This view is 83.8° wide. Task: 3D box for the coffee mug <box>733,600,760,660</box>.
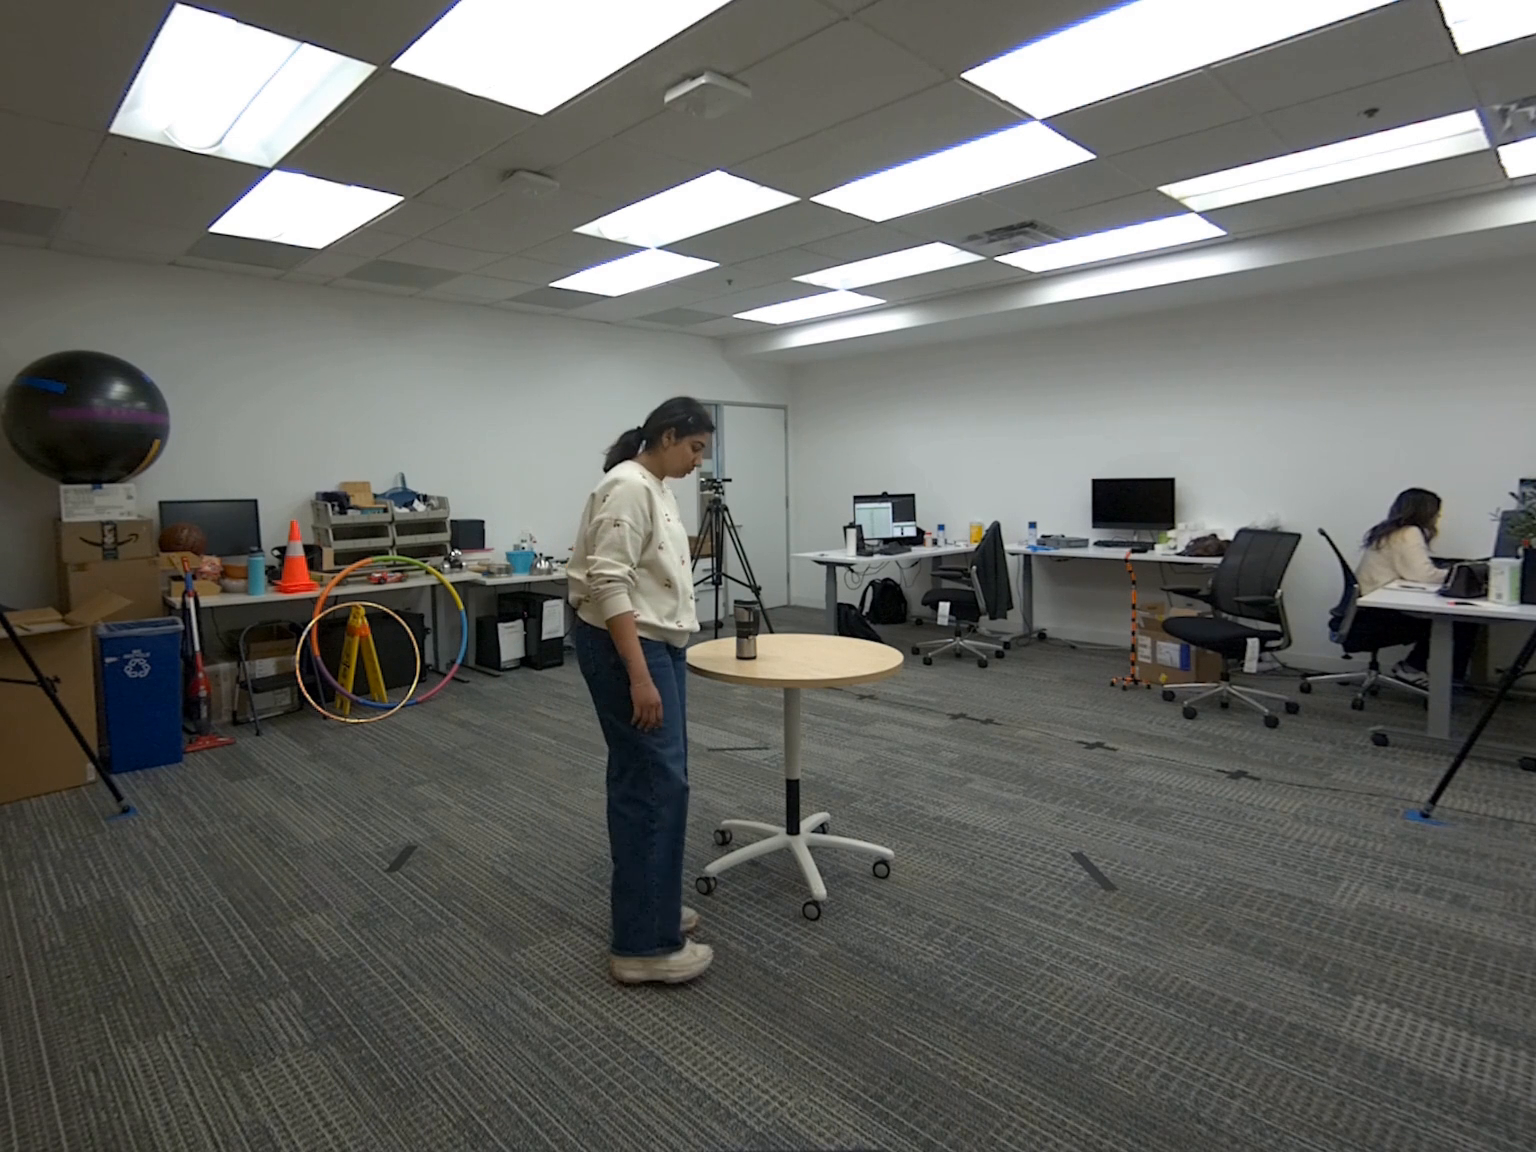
[{"bbox_3d":[-0.070,0.180,2.932,0.088,0.202,0.123,-3,5,-3],"label":"coffee mug"}]
